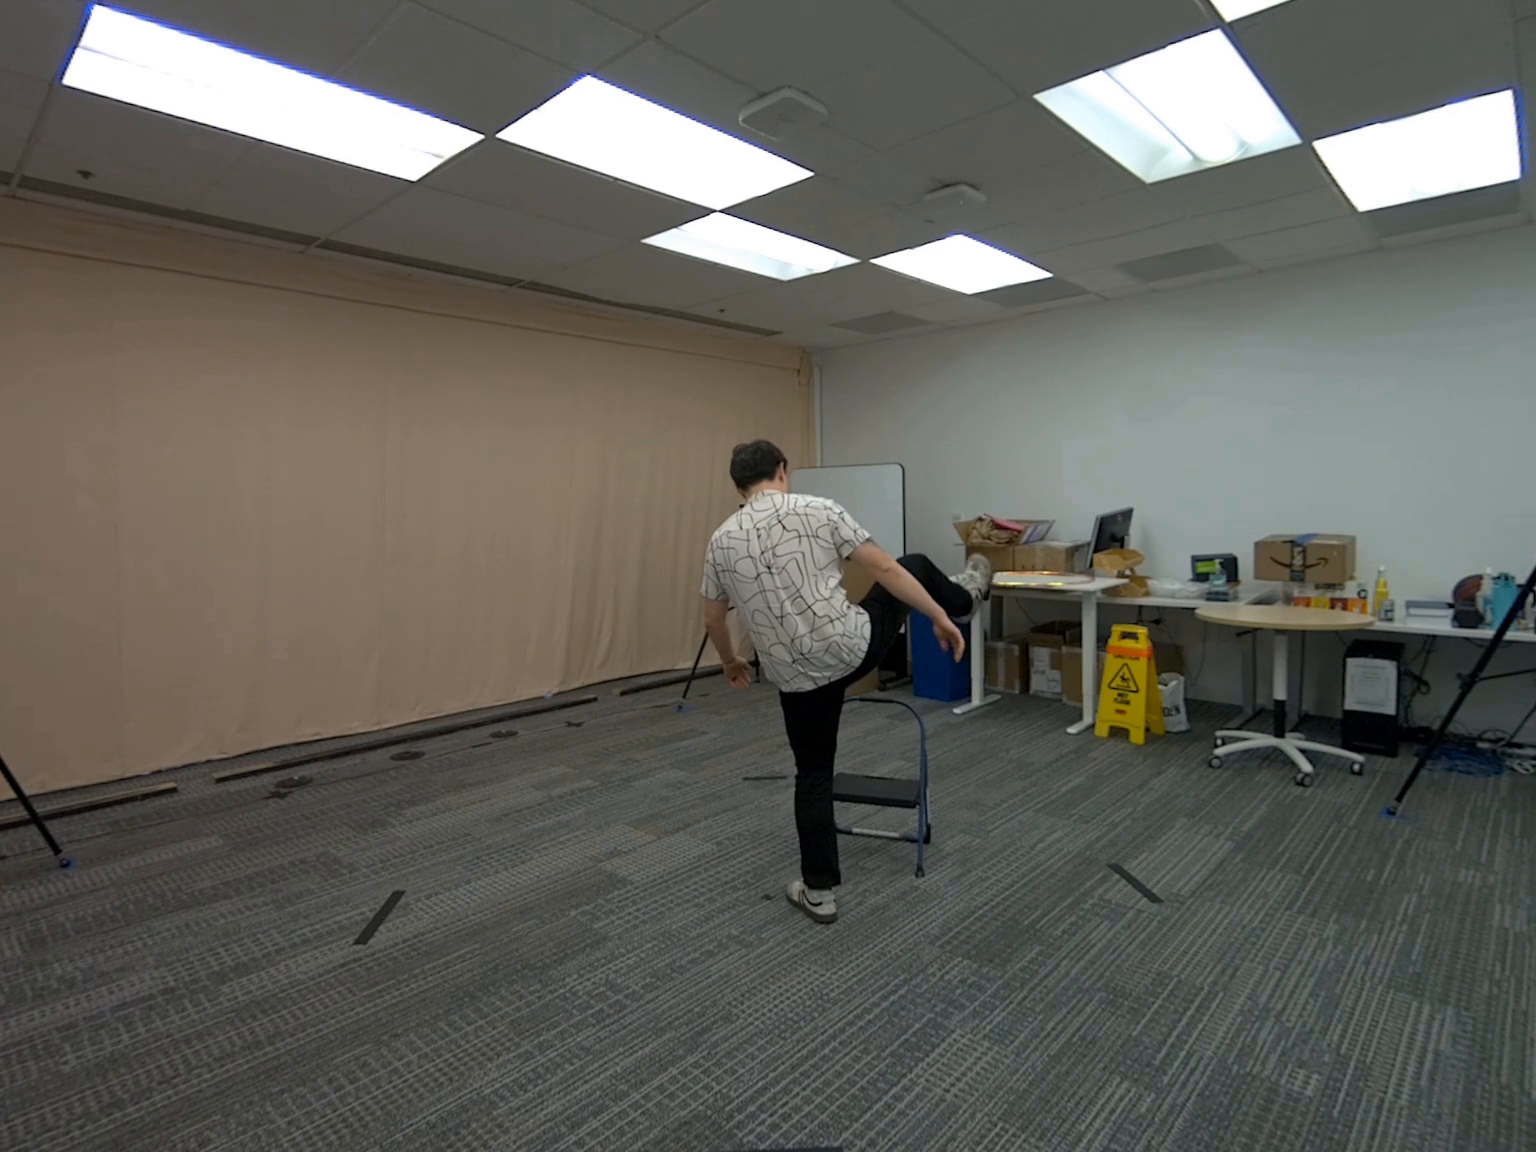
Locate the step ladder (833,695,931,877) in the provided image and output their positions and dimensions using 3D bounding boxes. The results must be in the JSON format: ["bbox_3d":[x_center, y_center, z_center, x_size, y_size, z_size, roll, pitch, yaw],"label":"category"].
[{"bbox_3d":[0.423,0.796,3.342,0.439,0.605,0.343,1,3,18],"label":"step ladder"}]
